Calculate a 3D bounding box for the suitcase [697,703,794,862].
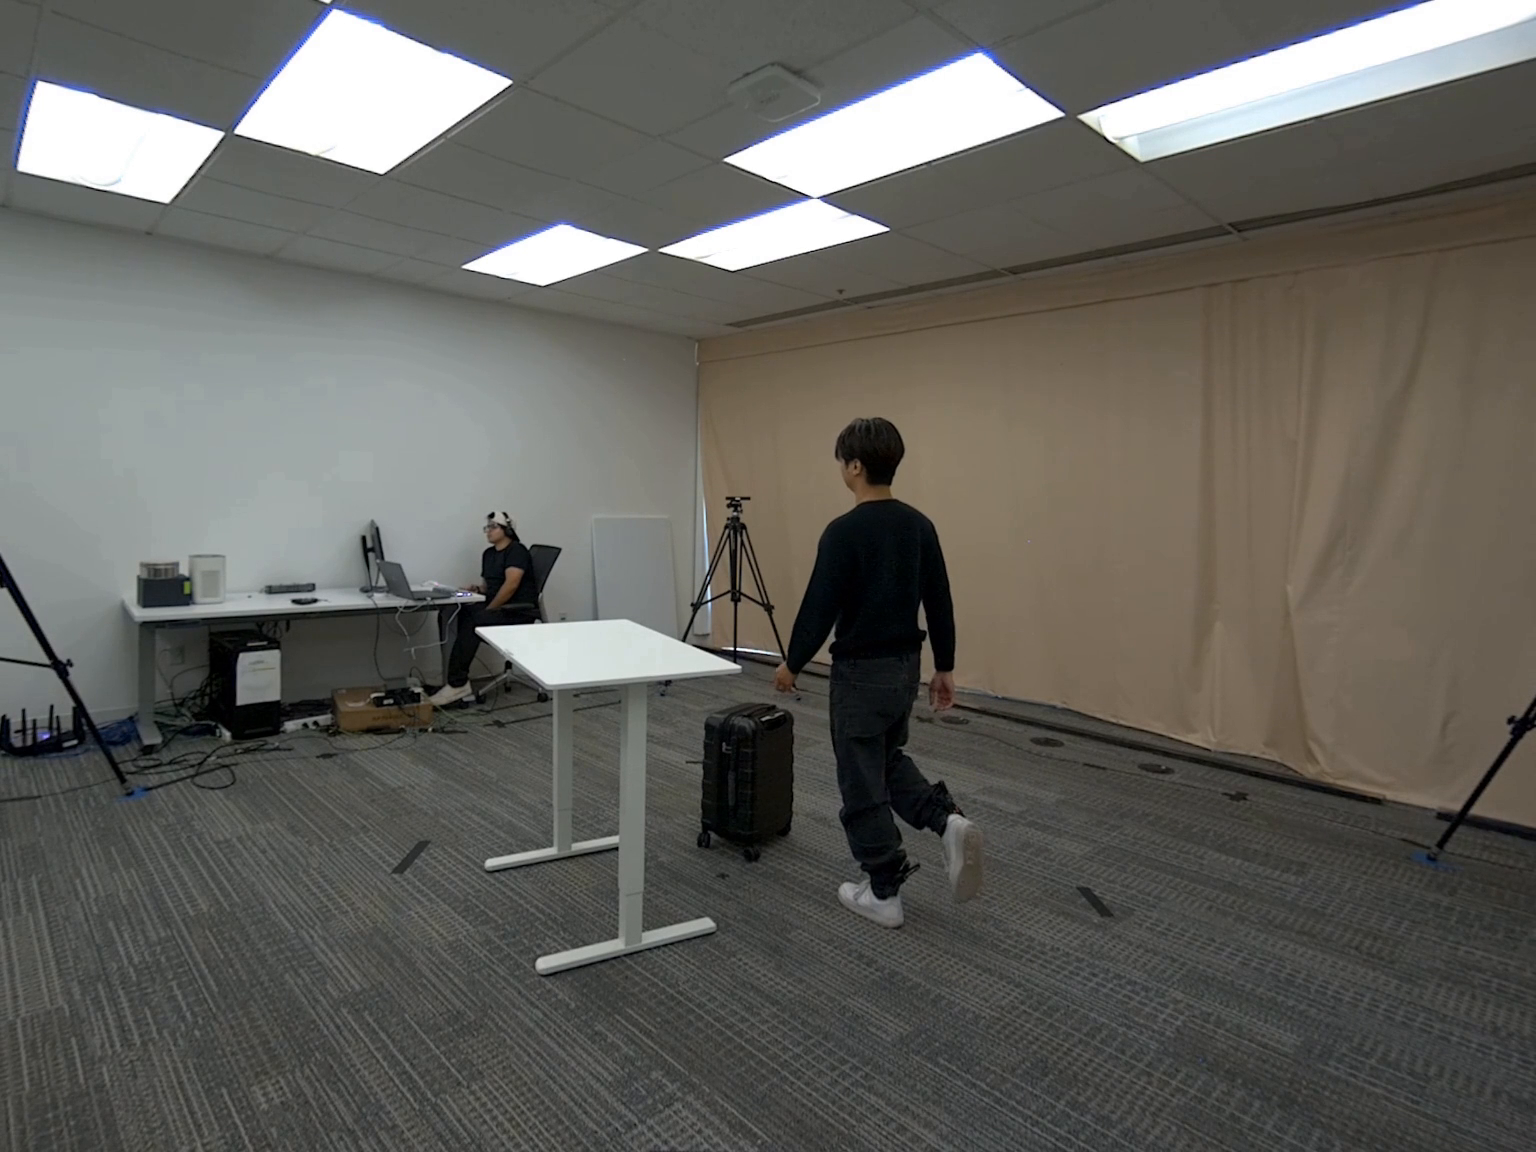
[{"bbox_3d":[-0.087,0.800,3.425,0.254,0.548,0.367,3,4,34],"label":"suitcase"}]
